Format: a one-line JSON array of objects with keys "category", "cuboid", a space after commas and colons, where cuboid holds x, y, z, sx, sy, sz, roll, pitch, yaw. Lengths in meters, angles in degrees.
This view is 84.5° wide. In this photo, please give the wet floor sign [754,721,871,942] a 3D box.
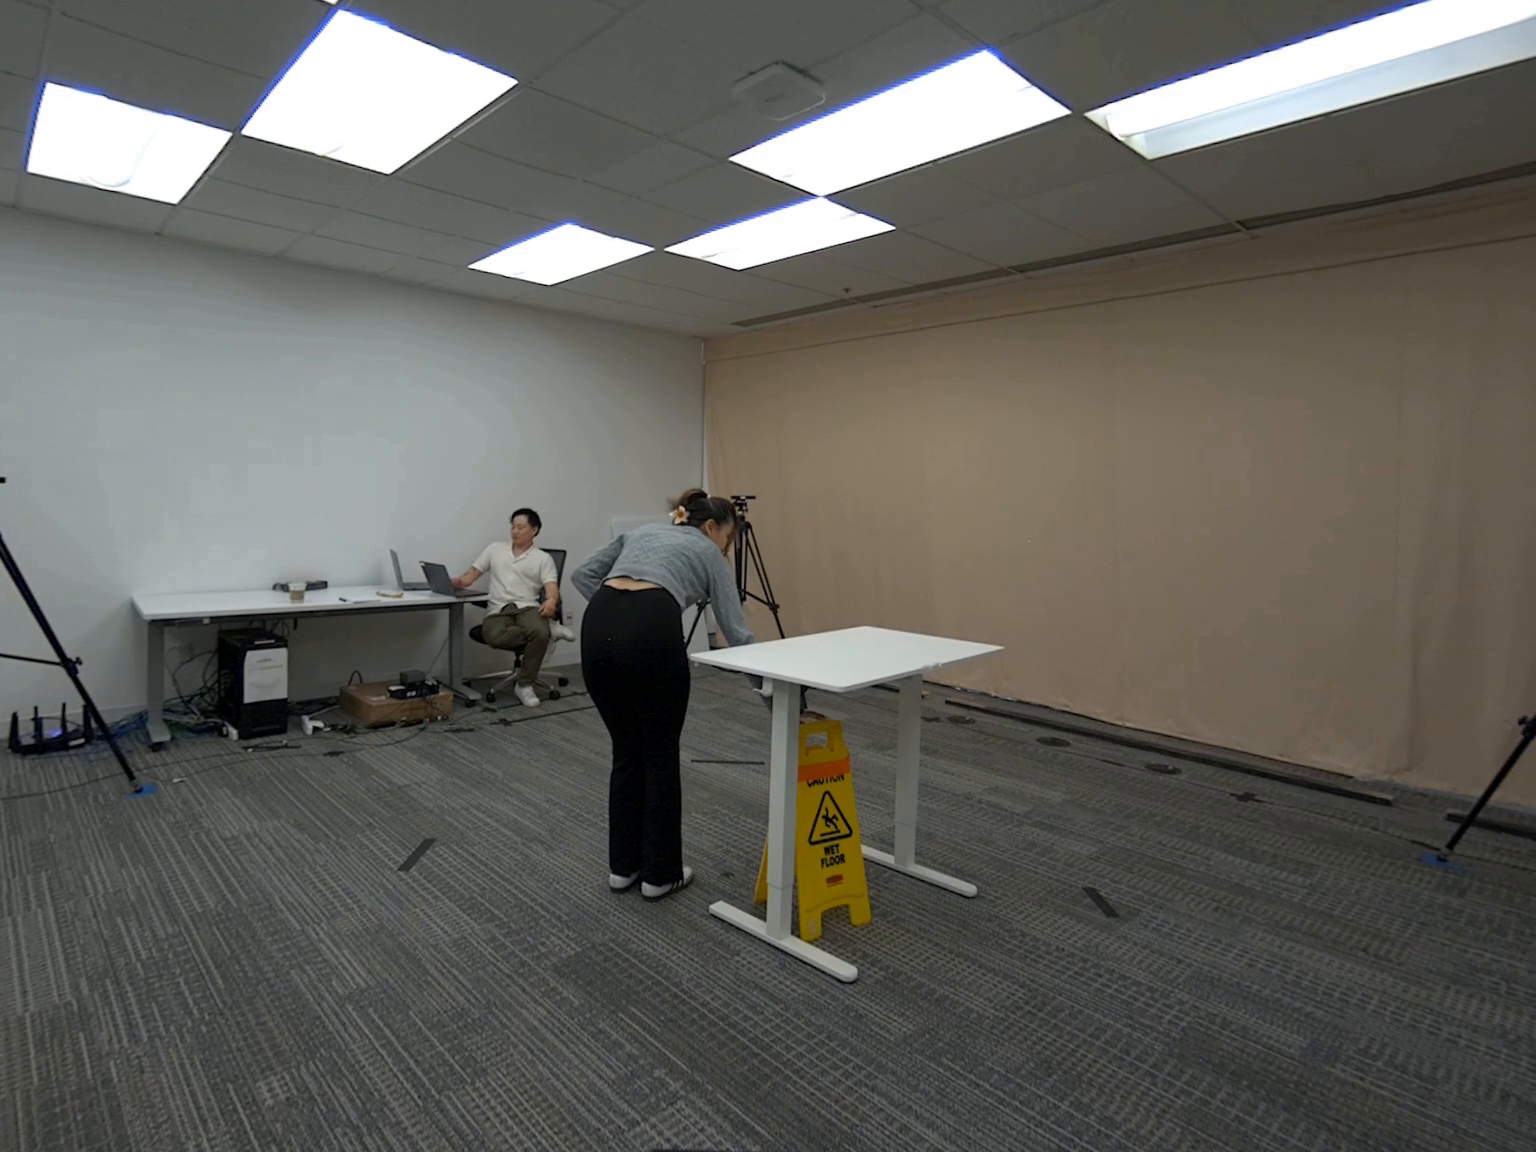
[{"category": "wet floor sign", "cuboid": [0.152, 0.812, 2.814, 0.276, 0.644, 0.296, -1, 5, -32]}]
